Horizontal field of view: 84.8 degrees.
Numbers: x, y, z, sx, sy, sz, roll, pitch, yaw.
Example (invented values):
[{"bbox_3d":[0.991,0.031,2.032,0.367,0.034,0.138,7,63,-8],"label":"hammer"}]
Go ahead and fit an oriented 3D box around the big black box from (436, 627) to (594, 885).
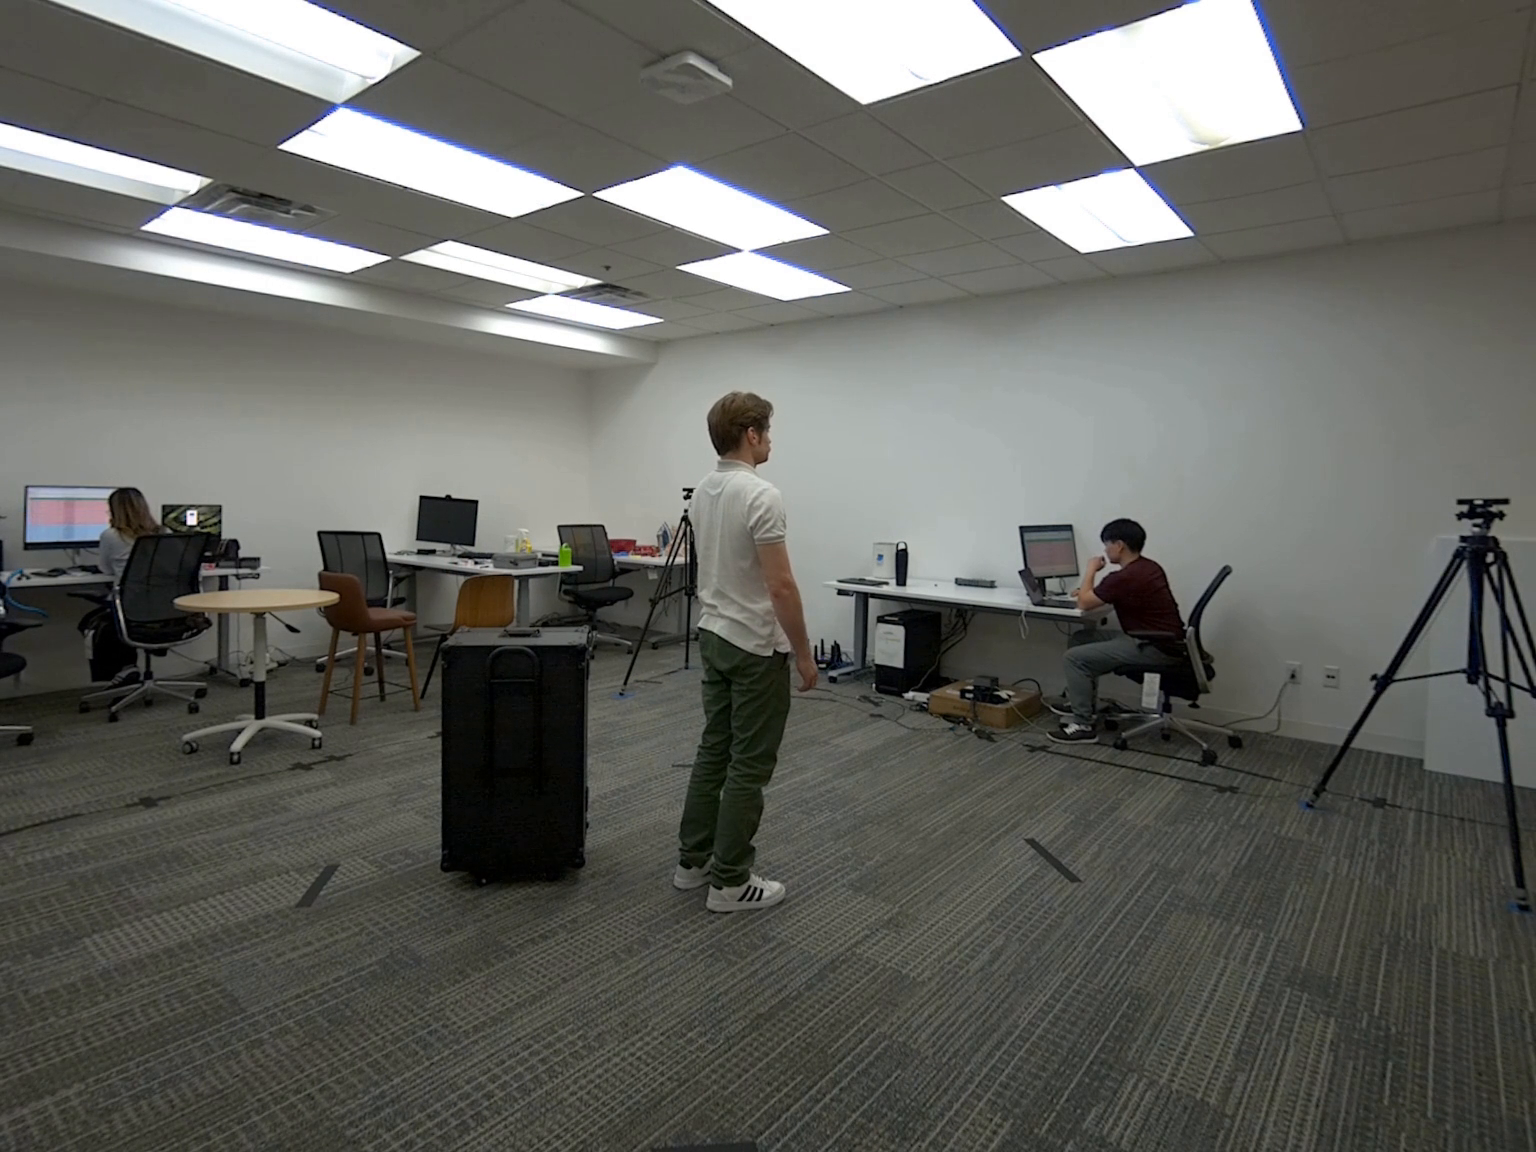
[{"bbox_3d":[-0.904,0.638,3.067,0.517,0.858,0.401,1,4,-8],"label":"big black box"}]
